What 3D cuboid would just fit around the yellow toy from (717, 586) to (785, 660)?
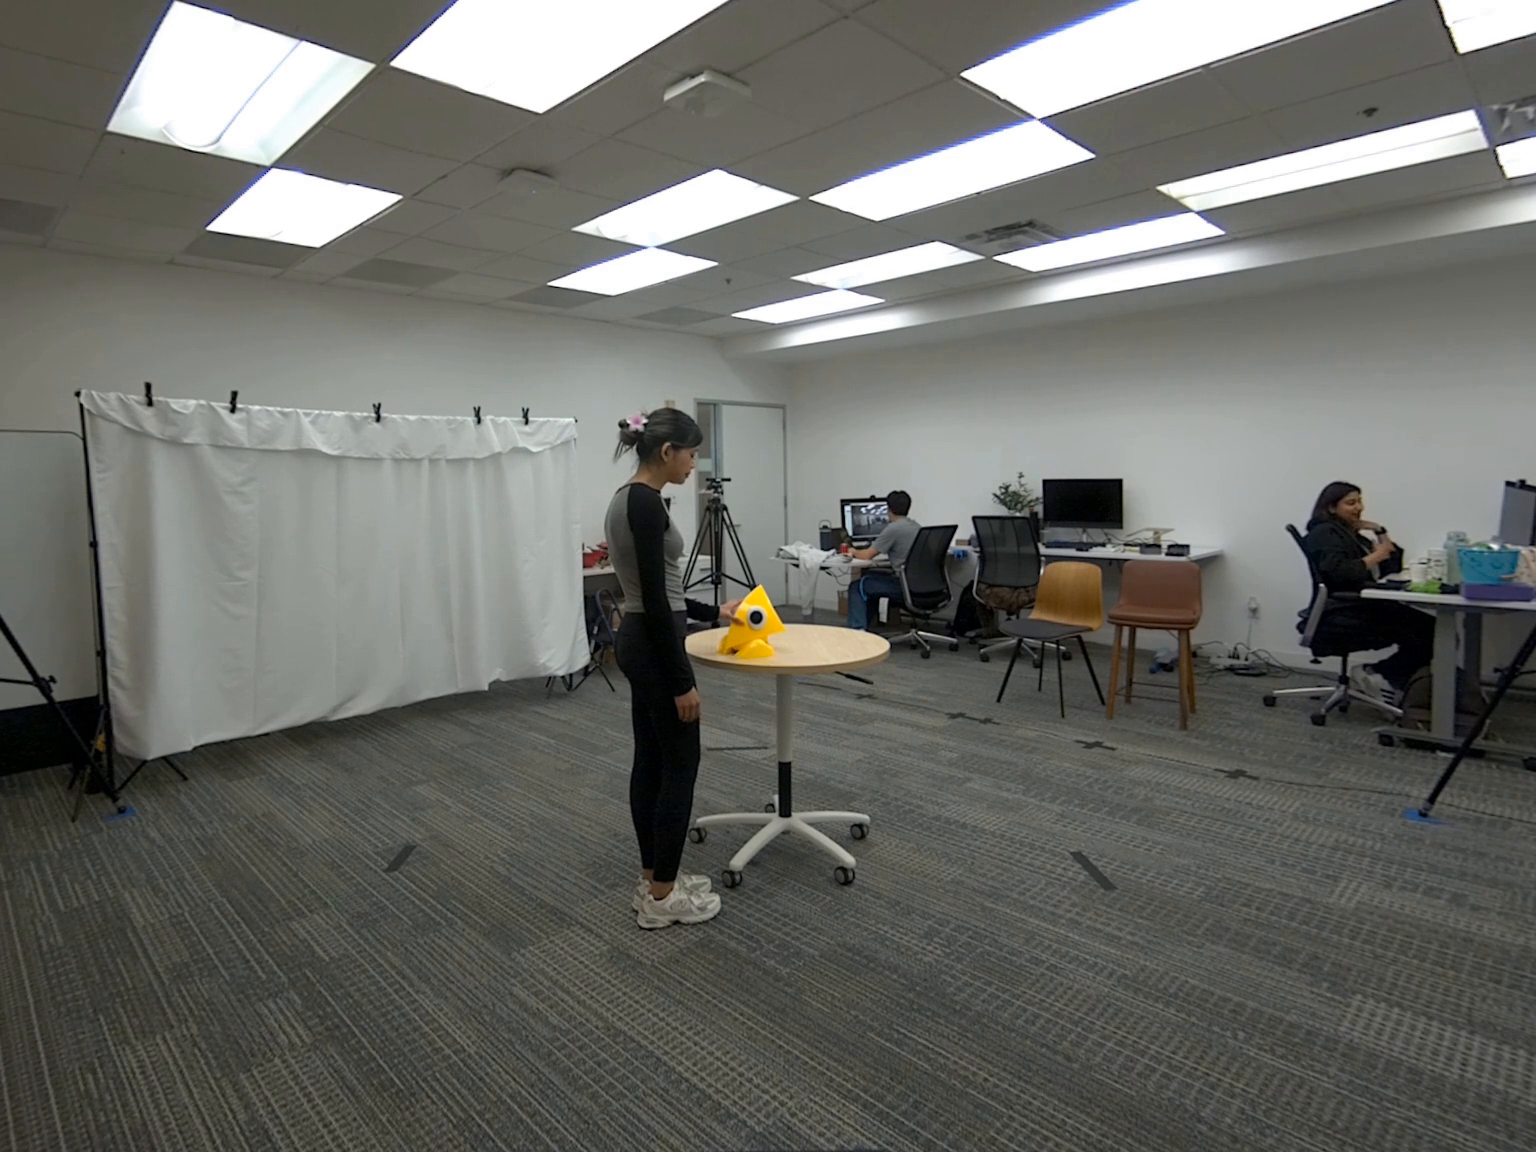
[{"bbox_3d":[-0.069,0.152,2.974,0.188,0.230,0.211,-4,7,-37],"label":"yellow toy"}]
